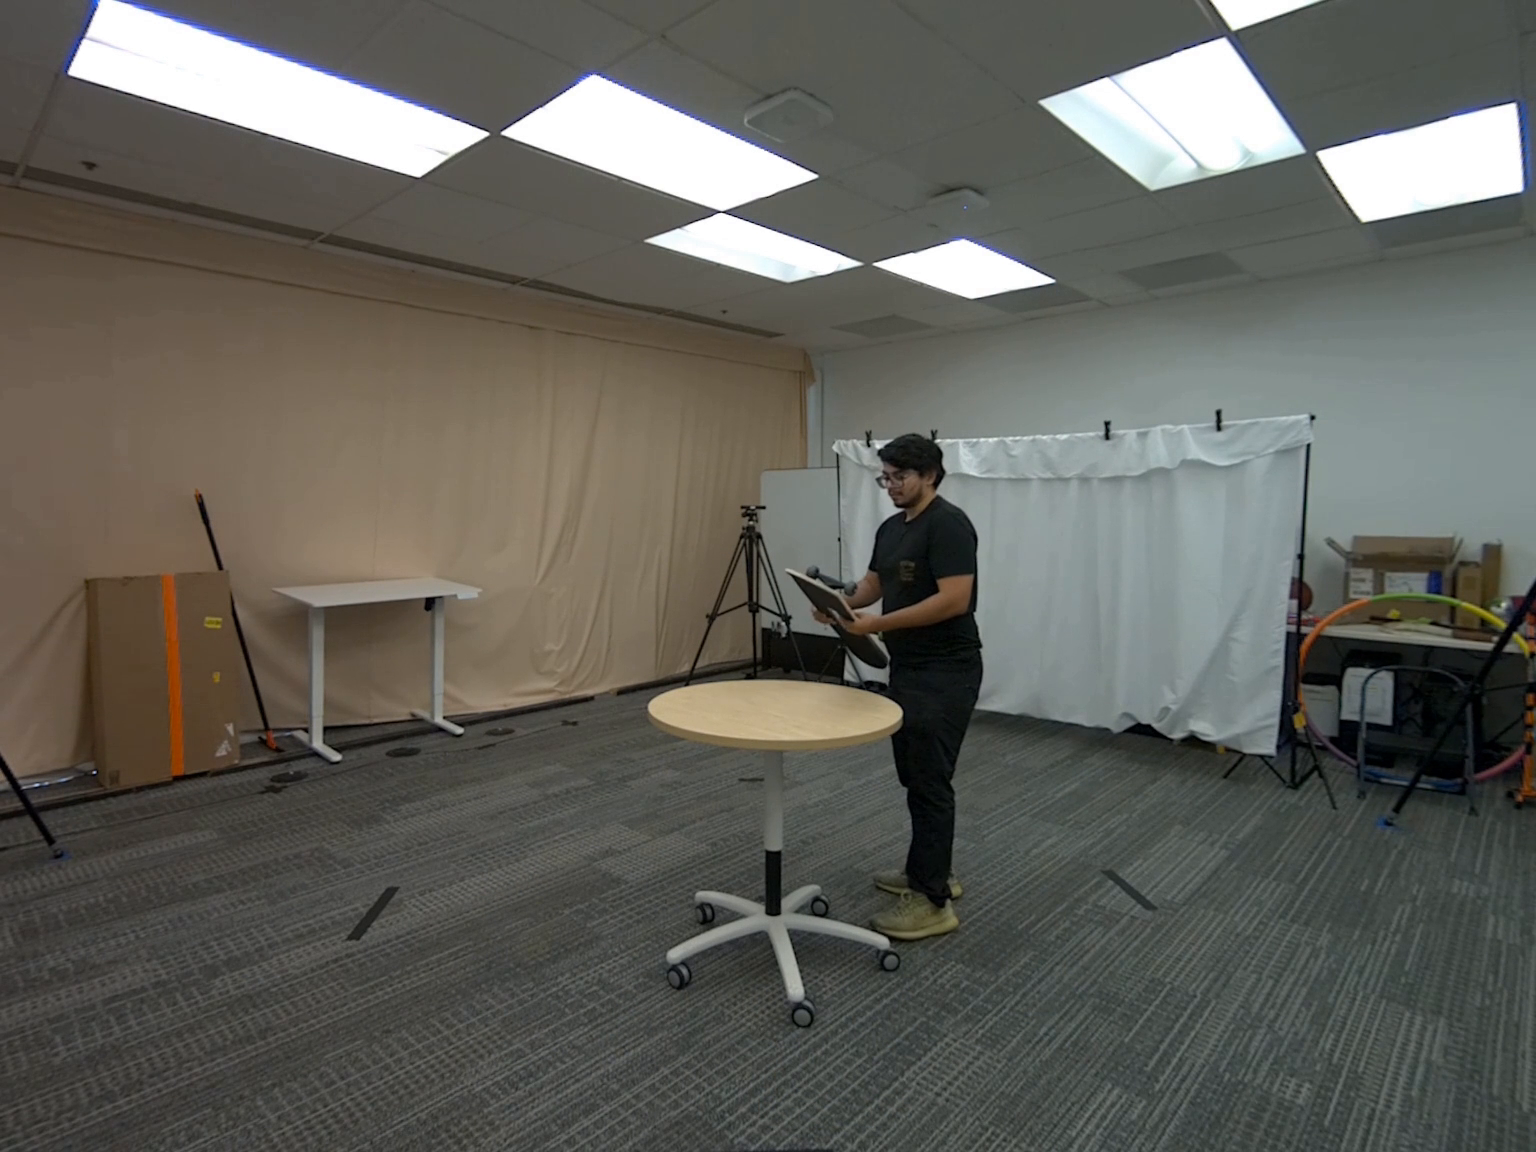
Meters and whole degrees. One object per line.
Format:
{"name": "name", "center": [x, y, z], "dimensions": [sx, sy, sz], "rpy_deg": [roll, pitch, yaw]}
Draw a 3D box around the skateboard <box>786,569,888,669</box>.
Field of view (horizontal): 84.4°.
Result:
{"name": "skateboard", "center": [0.280, 0.130, 2.923], "dimensions": [0.200, 0.110, 0.758], "rpy_deg": [27, -13, 37]}
